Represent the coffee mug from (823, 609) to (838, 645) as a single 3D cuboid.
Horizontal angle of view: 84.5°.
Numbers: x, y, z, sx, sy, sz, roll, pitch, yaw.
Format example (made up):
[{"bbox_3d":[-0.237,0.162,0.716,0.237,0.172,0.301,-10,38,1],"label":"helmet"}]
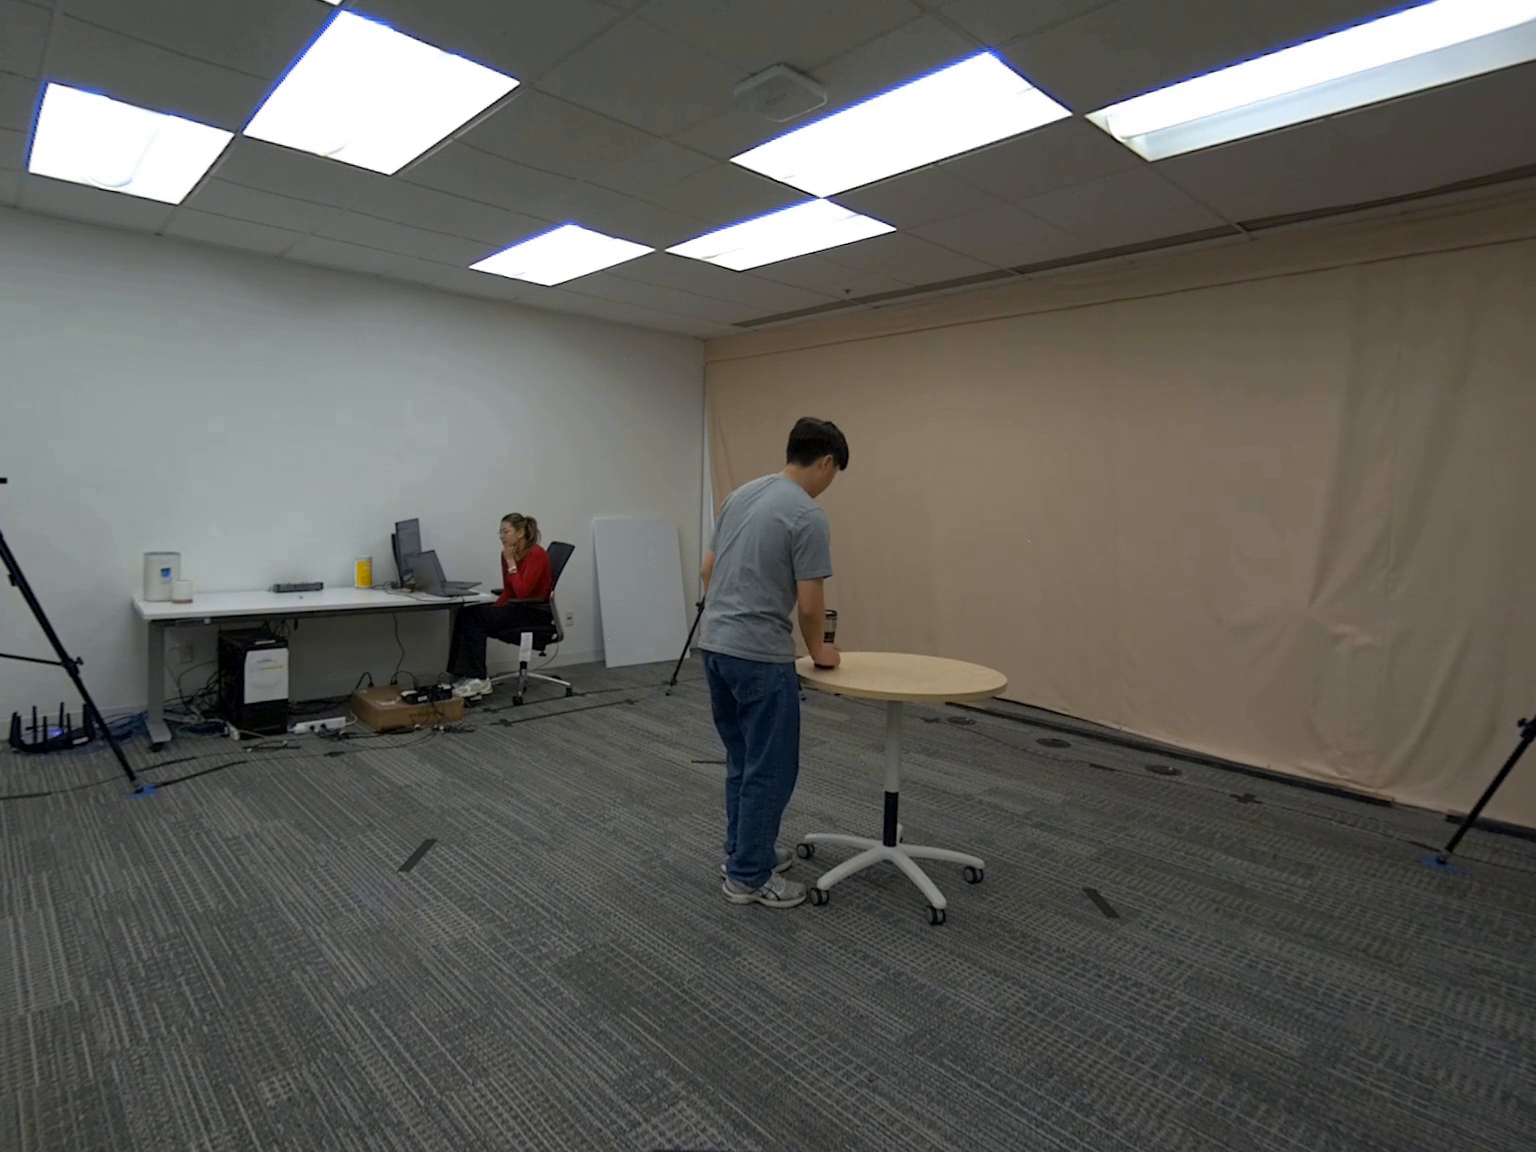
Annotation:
[{"bbox_3d":[0.214,0.227,3.094,0.090,0.202,0.119,6,10,44],"label":"coffee mug"}]
